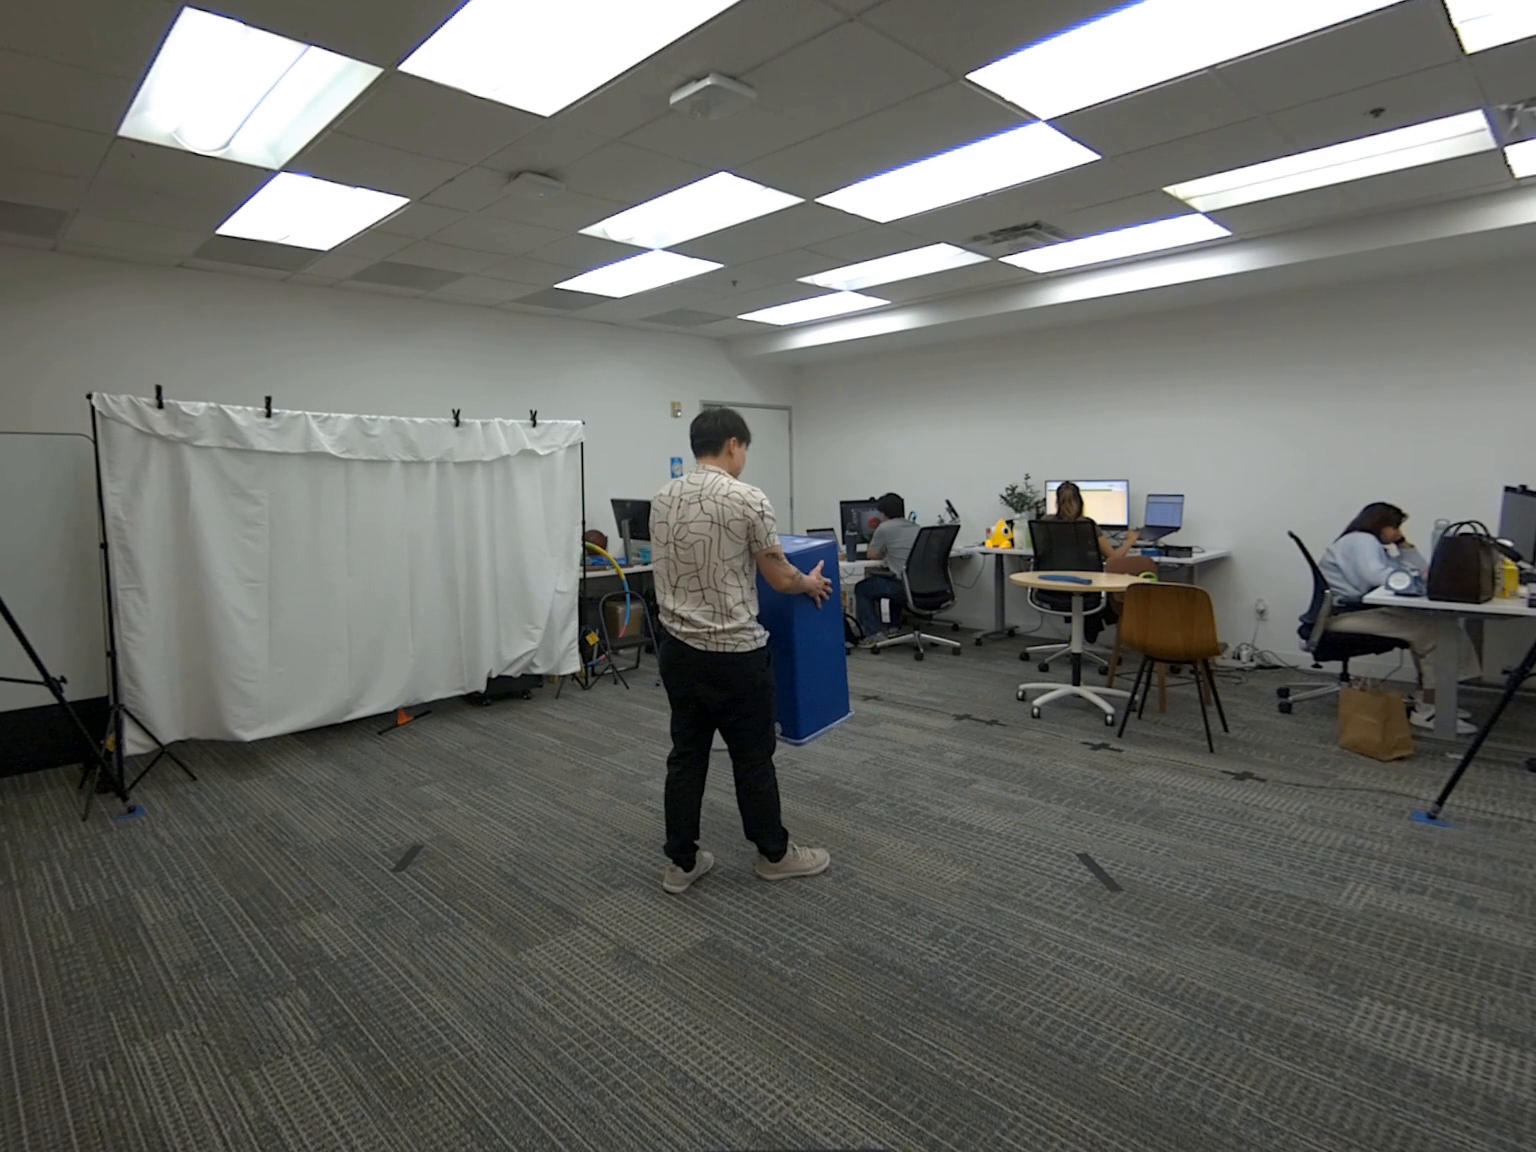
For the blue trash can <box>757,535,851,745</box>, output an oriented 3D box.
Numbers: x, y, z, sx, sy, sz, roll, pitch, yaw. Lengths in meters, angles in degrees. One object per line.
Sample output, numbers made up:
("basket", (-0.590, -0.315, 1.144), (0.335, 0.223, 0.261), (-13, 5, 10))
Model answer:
("blue trash can", (0.079, 0.225, 3.301), (0.386, 0.707, 0.369), (6, 13, 42))
